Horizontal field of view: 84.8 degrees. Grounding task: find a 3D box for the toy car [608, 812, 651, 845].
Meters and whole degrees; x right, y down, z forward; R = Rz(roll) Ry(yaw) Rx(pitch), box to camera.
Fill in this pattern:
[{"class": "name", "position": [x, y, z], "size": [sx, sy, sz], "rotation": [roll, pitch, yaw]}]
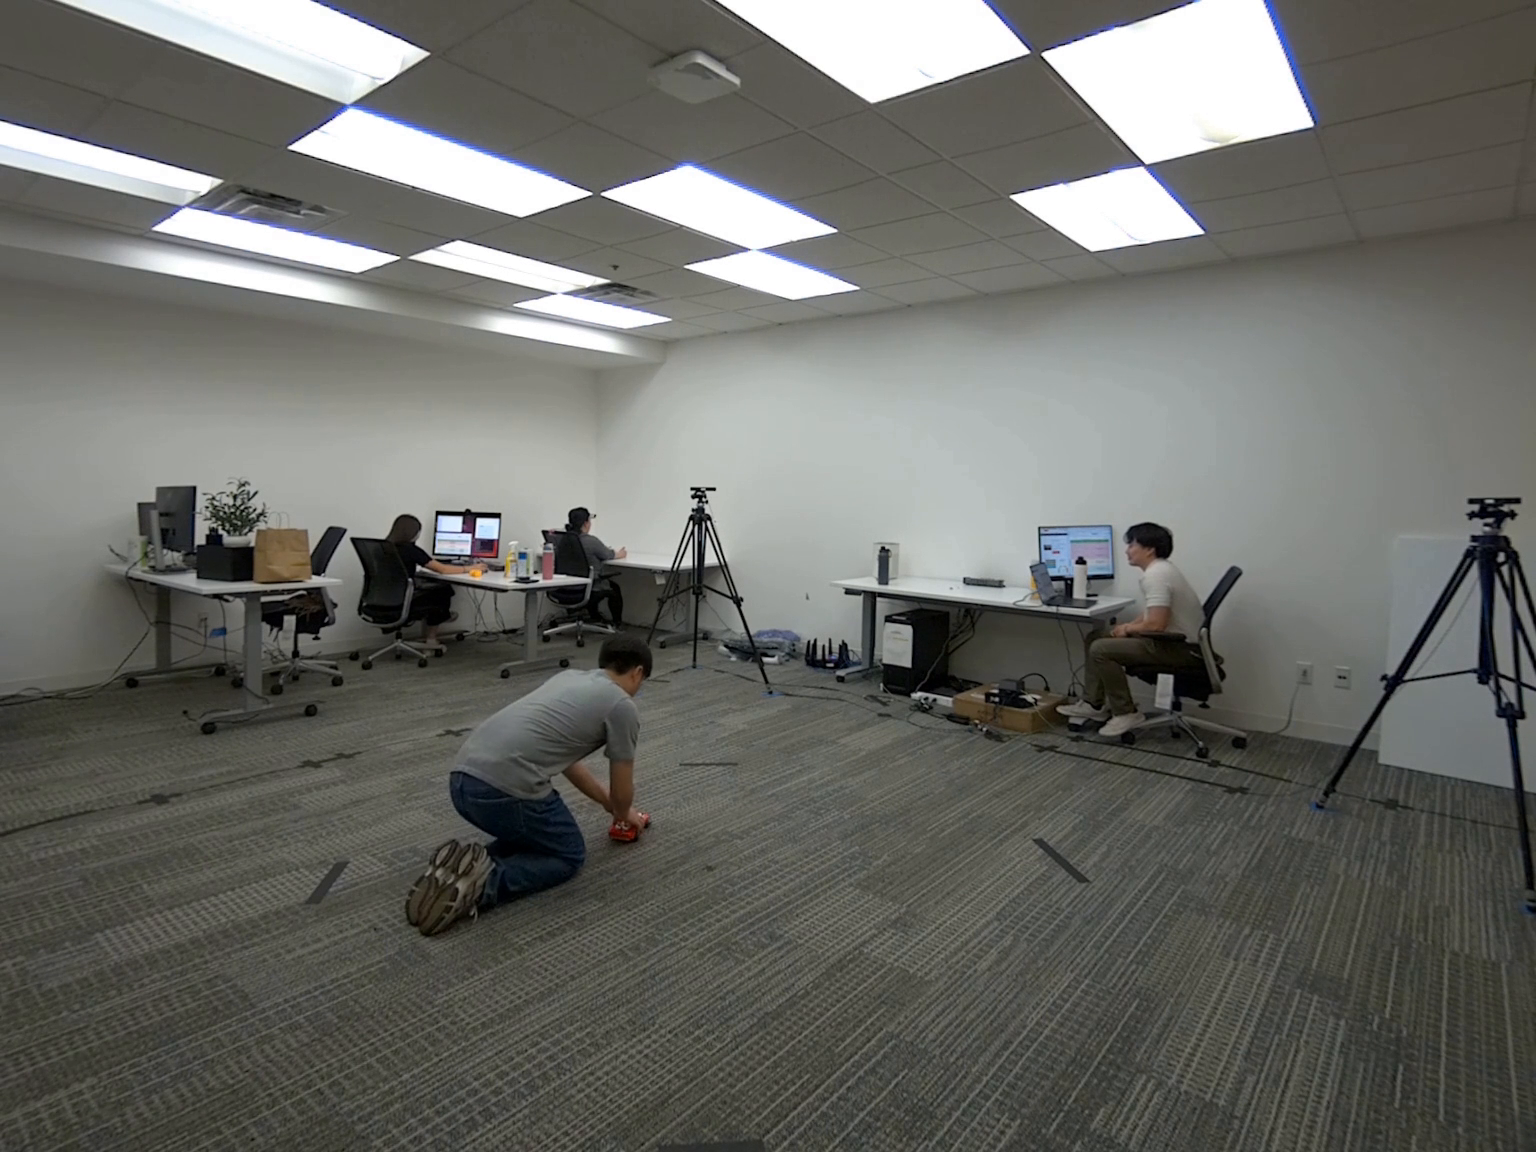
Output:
[{"class": "toy car", "position": [-0.572, 1.003, 3.403], "size": [0.132, 0.084, 0.250], "rotation": [1, -5, 11]}]
